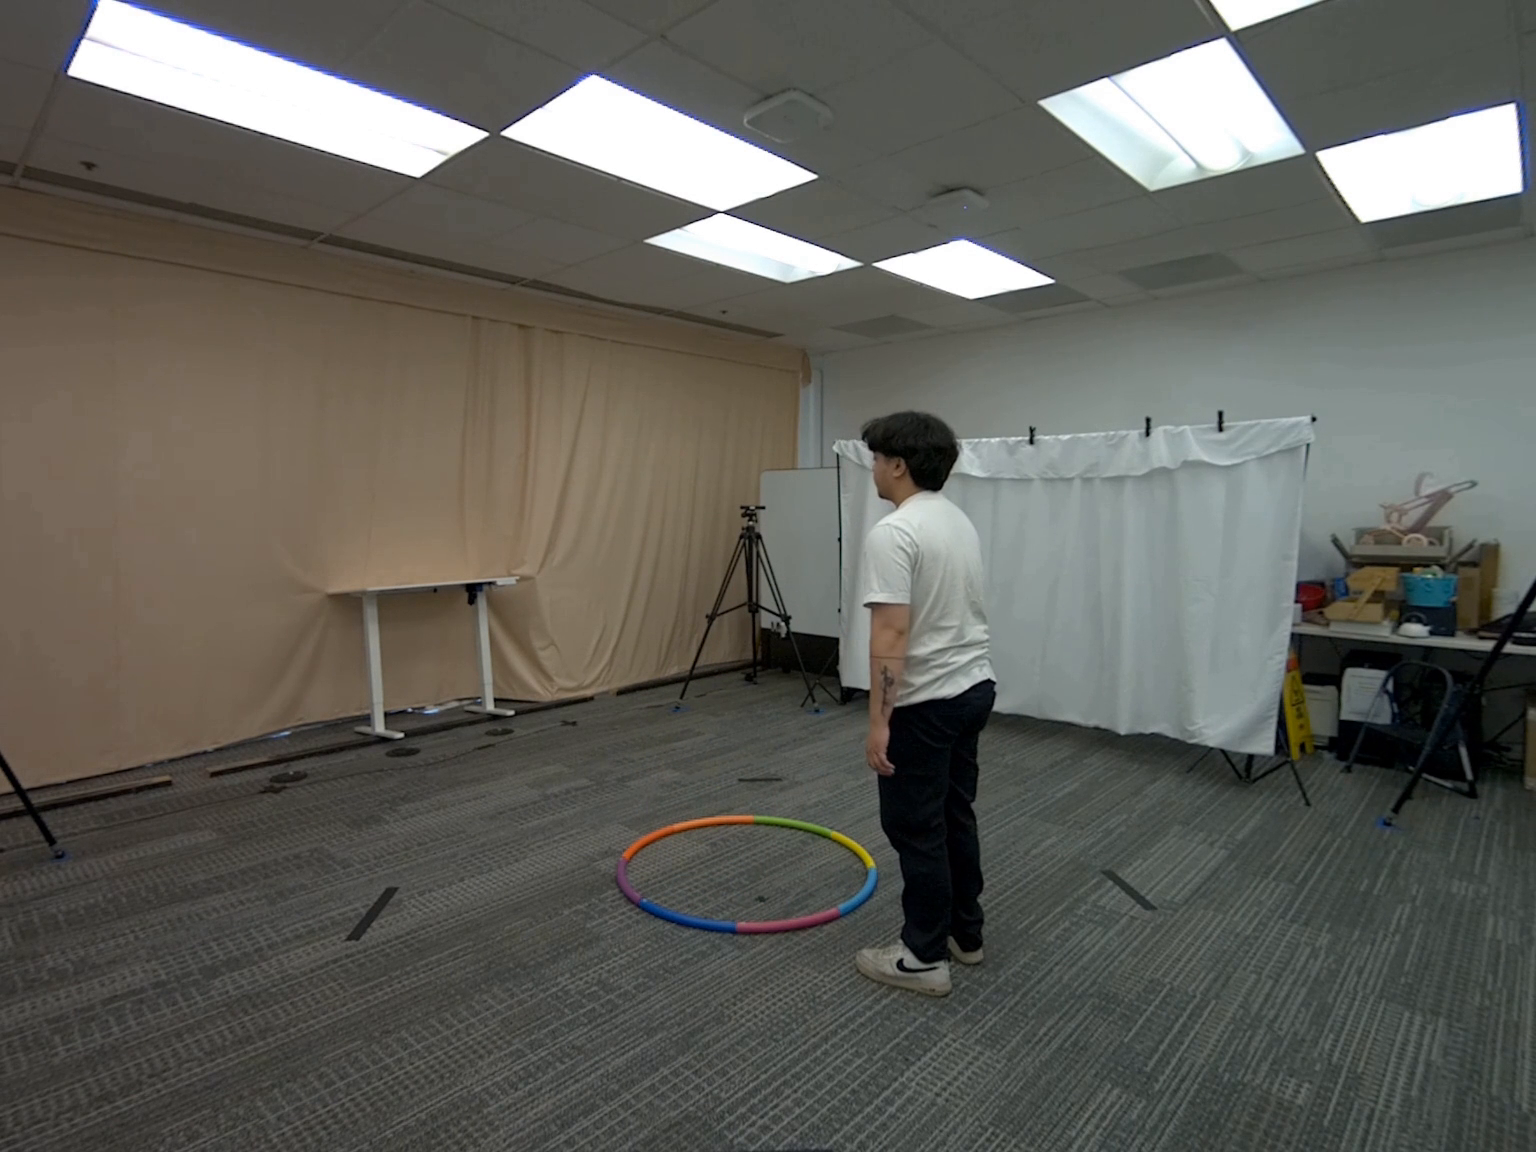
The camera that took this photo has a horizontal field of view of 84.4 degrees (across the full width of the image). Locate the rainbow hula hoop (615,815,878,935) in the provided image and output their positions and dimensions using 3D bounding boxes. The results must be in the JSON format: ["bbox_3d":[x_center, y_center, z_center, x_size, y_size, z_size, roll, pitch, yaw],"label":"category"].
[{"bbox_3d":[-0.083,1.098,3.222,0.985,0.051,0.989,0,5,-2],"label":"rainbow hula hoop"}]
